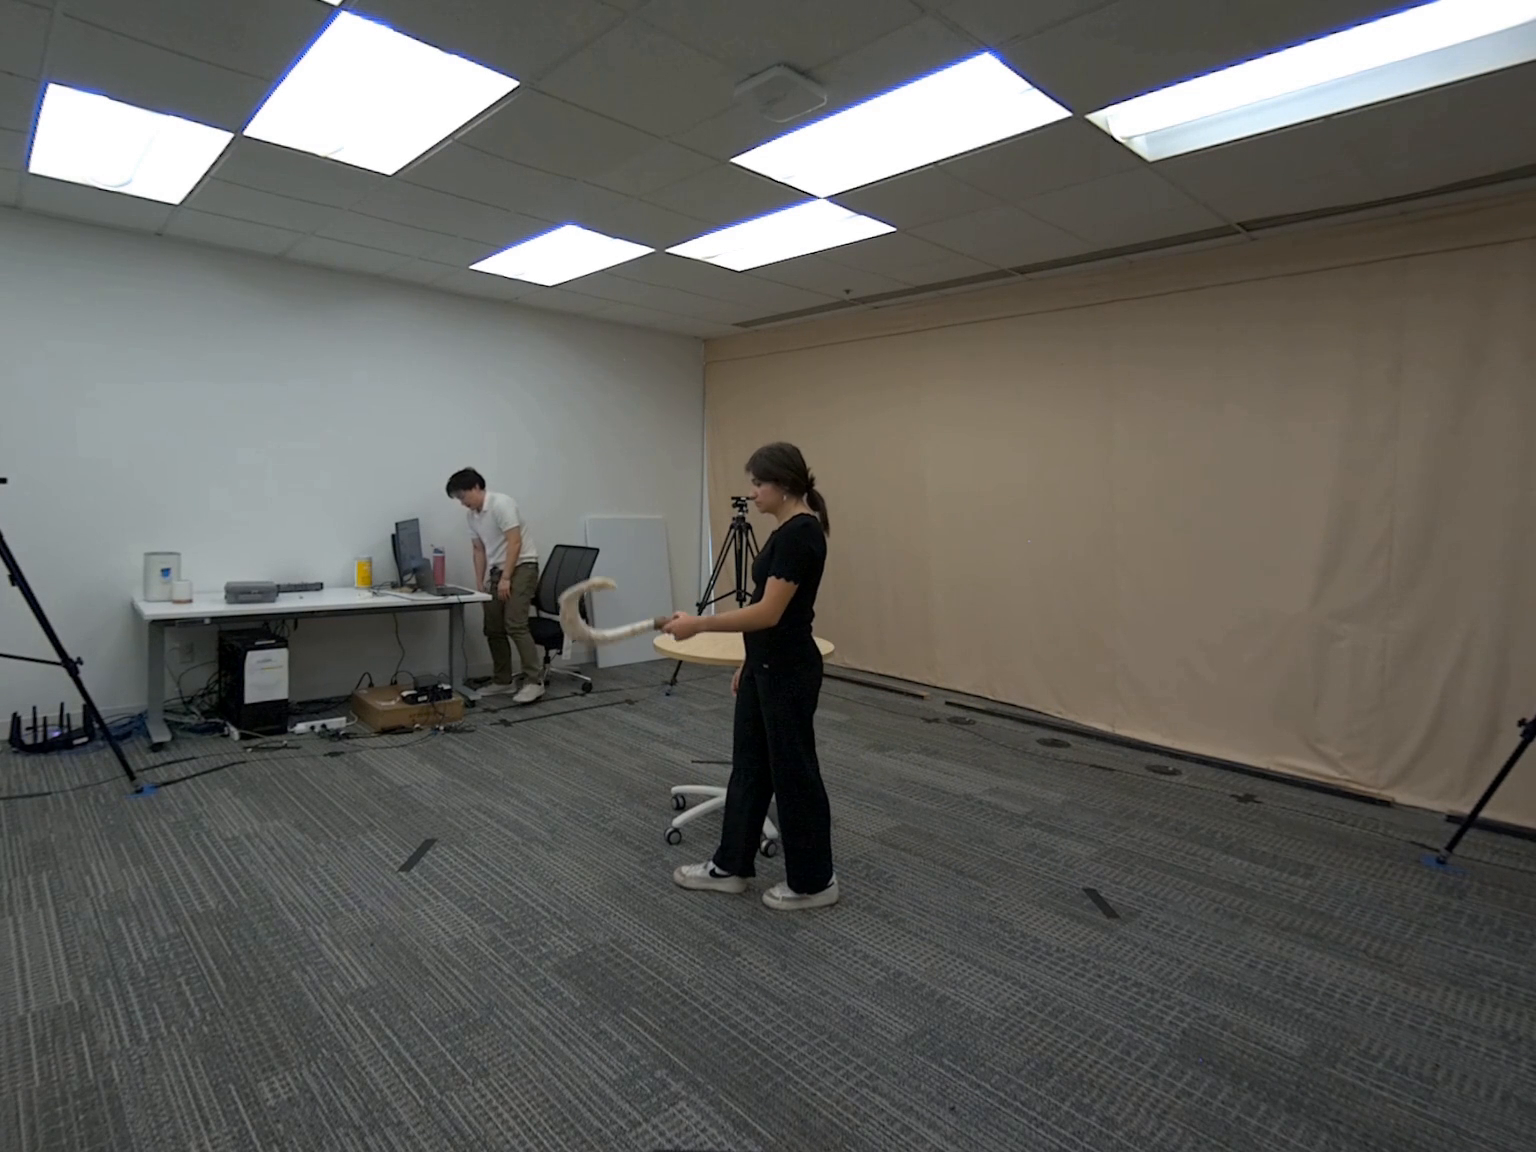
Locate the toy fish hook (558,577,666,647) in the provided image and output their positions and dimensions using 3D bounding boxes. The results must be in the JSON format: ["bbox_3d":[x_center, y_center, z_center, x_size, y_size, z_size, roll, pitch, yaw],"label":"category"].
[{"bbox_3d":[-0.395,0.133,2.723,0.507,0.222,0.049,-1,15,1],"label":"toy fish hook"}]
